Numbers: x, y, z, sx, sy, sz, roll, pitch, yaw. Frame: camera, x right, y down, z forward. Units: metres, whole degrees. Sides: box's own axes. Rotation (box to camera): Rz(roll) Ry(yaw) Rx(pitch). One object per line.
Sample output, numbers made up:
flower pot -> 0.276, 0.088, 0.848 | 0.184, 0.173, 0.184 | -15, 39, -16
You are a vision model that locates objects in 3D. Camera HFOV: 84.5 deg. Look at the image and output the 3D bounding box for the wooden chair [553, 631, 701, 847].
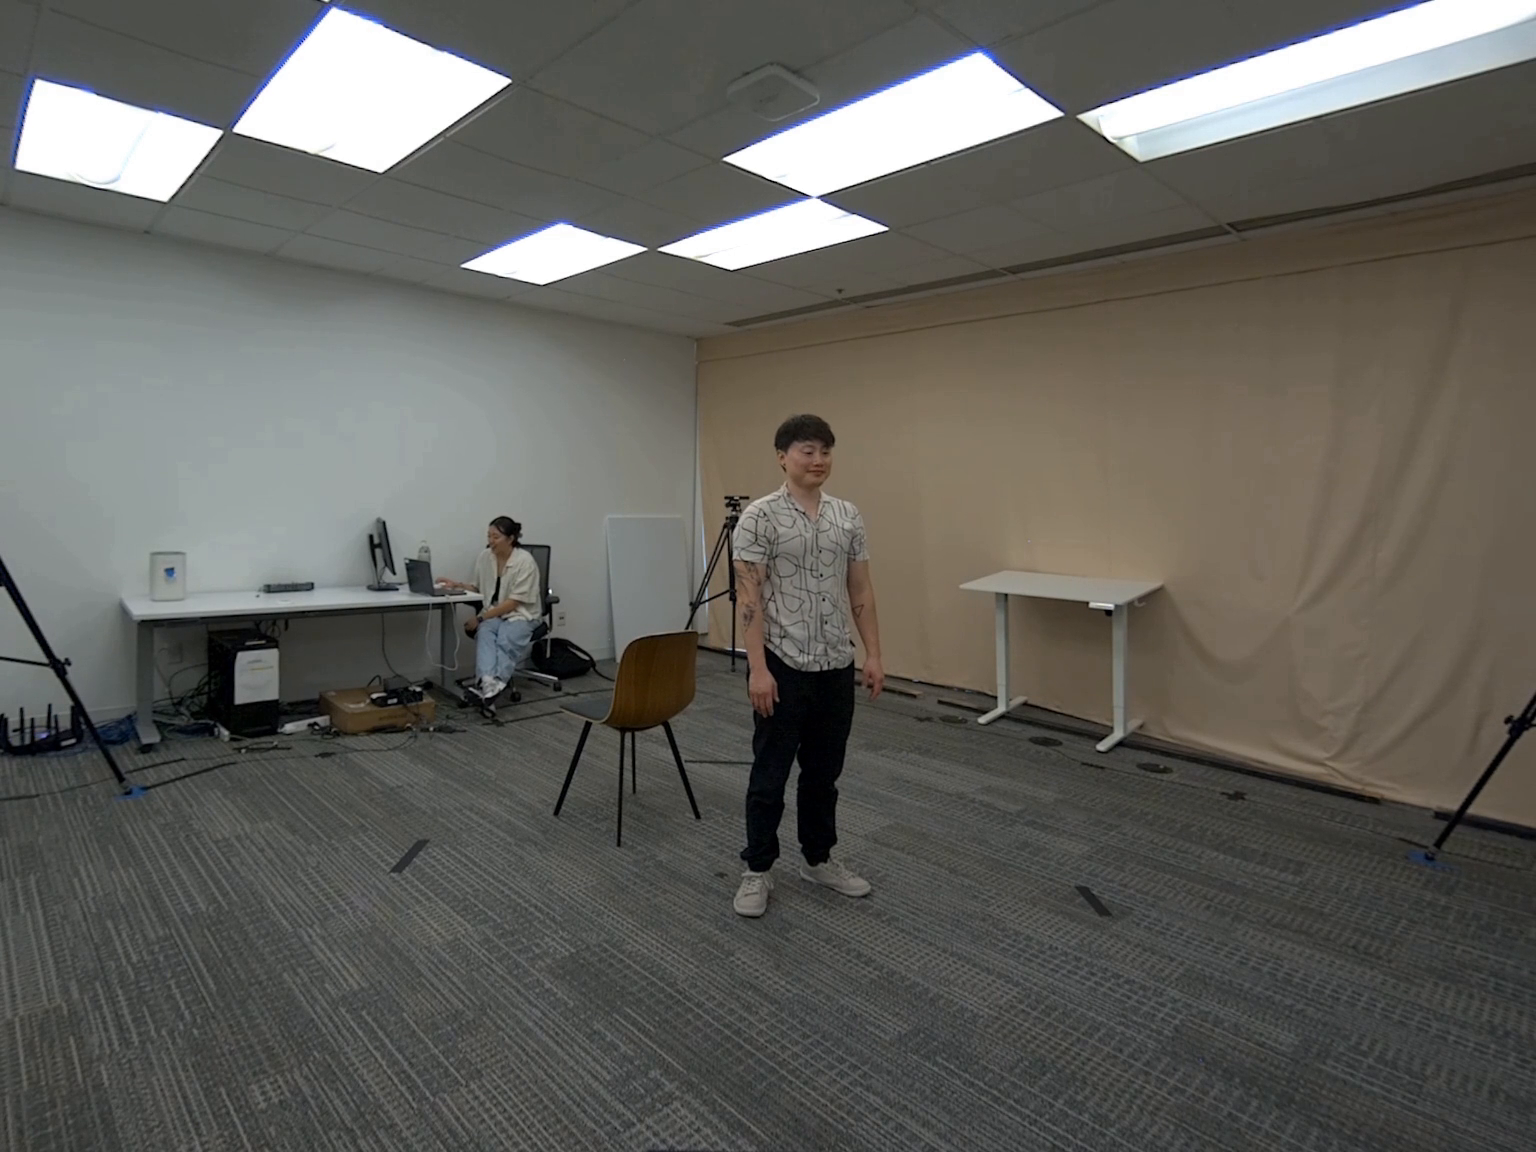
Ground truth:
wooden chair -> -0.609, 0.619, 3.617 | 0.537, 0.873, 0.467 | 11, 9, 42
